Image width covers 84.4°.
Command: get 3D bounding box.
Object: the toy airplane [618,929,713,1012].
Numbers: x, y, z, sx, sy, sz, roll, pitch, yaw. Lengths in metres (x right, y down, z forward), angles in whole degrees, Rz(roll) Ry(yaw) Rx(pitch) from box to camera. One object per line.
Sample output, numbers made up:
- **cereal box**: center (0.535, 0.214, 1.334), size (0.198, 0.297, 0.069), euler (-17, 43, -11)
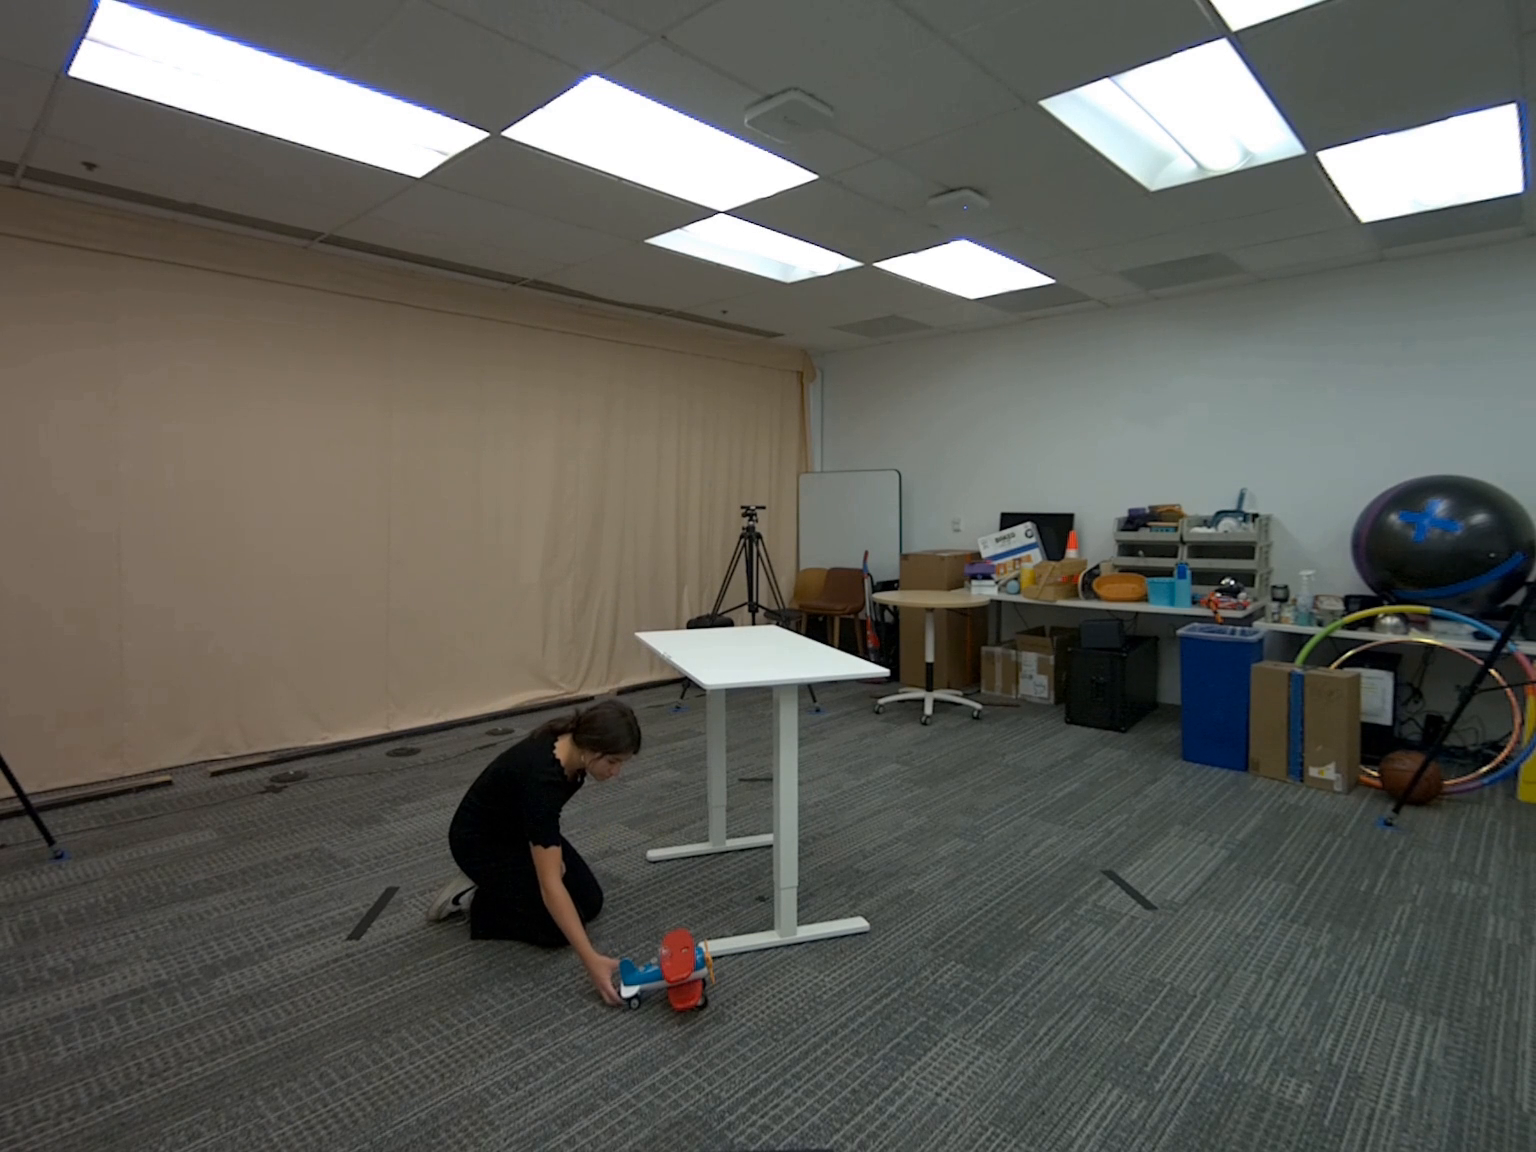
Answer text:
- **toy airplane**: center (-0.276, 1.127, 2.340), size (0.252, 0.156, 0.259), euler (-3, 6, -34)
